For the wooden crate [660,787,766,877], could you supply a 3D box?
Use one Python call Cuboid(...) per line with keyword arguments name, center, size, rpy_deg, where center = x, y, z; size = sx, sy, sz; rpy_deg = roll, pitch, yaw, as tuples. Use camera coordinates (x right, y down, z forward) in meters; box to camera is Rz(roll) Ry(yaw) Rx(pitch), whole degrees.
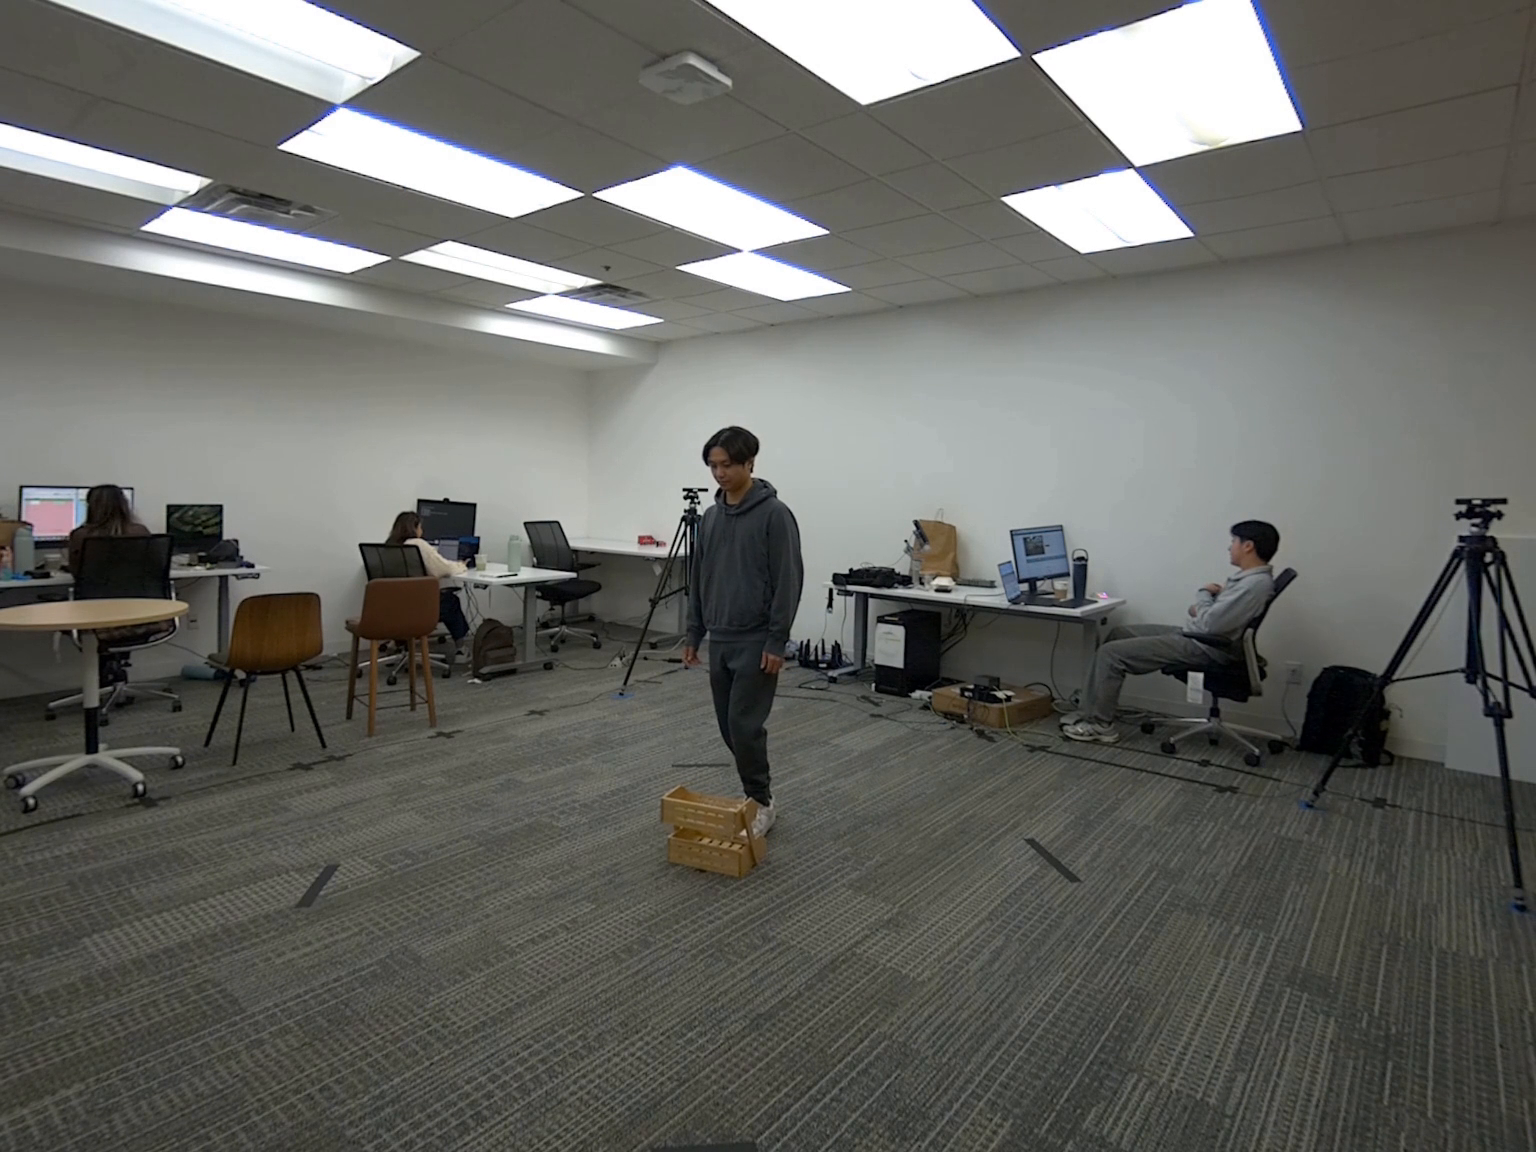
Cuboid(name="wooden crate", center=(-0.209, 0.928, 3.189), size=(0.332, 0.272, 0.296), rpy_deg=(3, 5, 23))
